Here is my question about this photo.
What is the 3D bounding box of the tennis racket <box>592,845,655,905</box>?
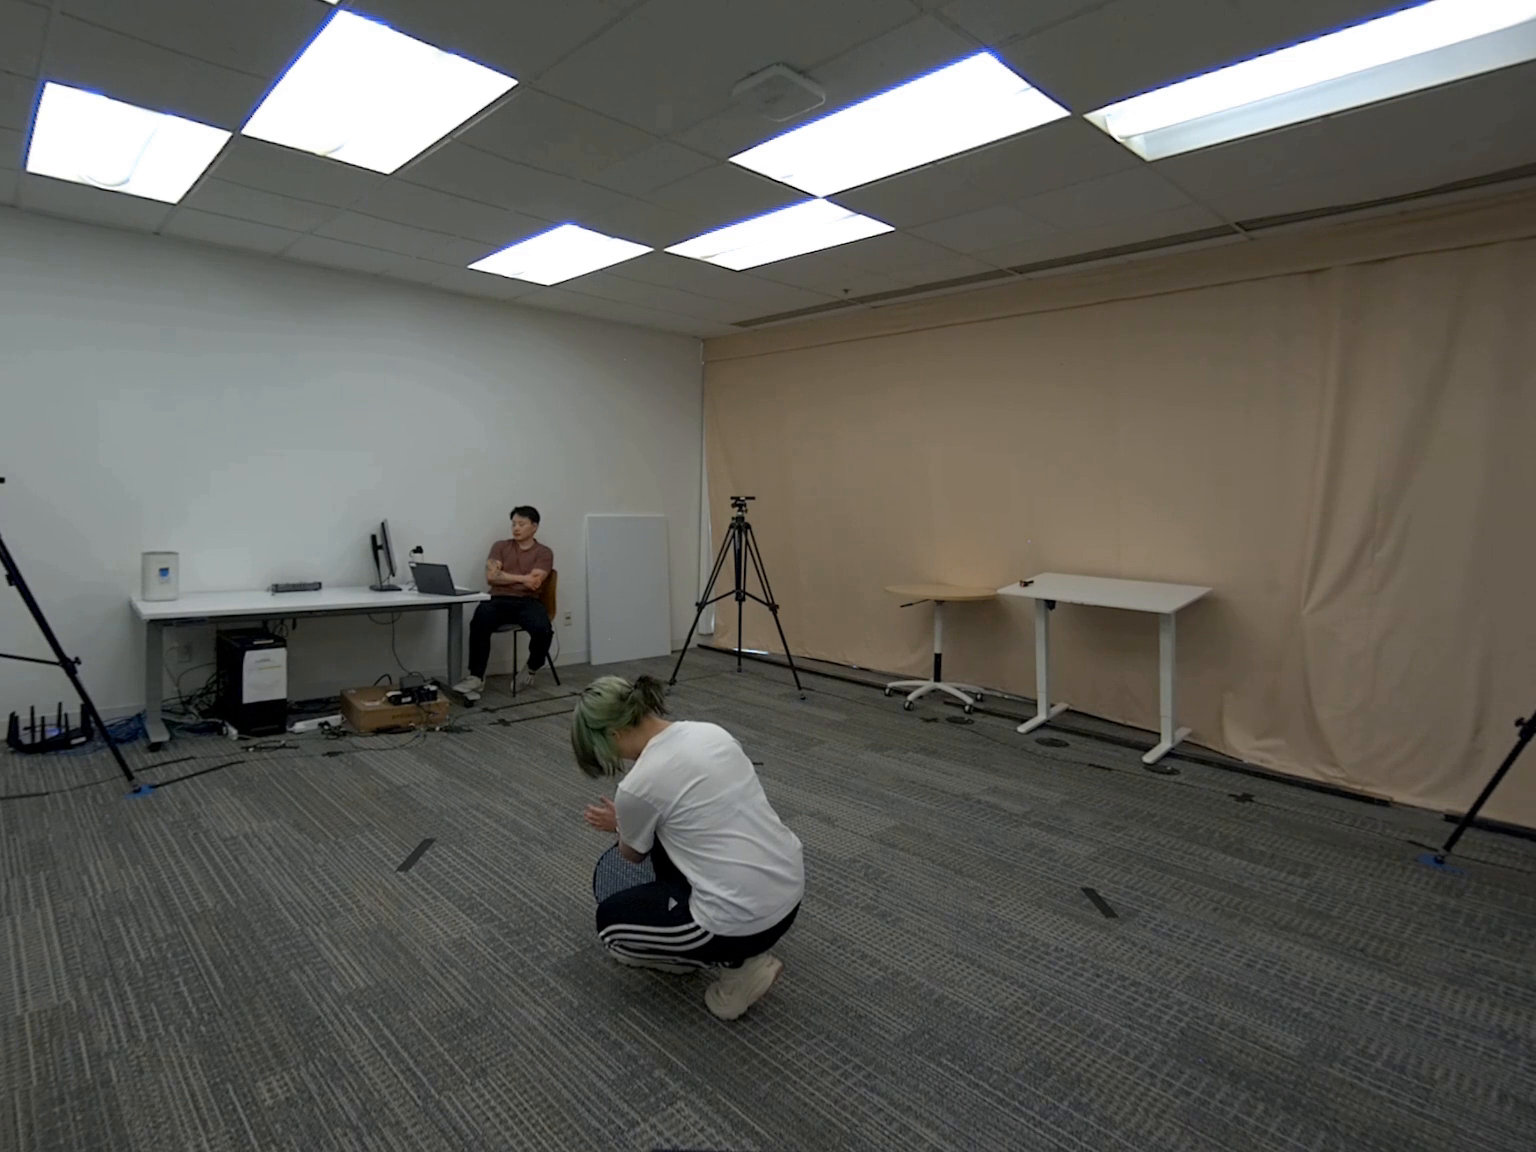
[{"bbox_3d":[-0.469,0.918,2.733,0.213,0.431,0.032,5,5,-6],"label":"tennis racket"}]
